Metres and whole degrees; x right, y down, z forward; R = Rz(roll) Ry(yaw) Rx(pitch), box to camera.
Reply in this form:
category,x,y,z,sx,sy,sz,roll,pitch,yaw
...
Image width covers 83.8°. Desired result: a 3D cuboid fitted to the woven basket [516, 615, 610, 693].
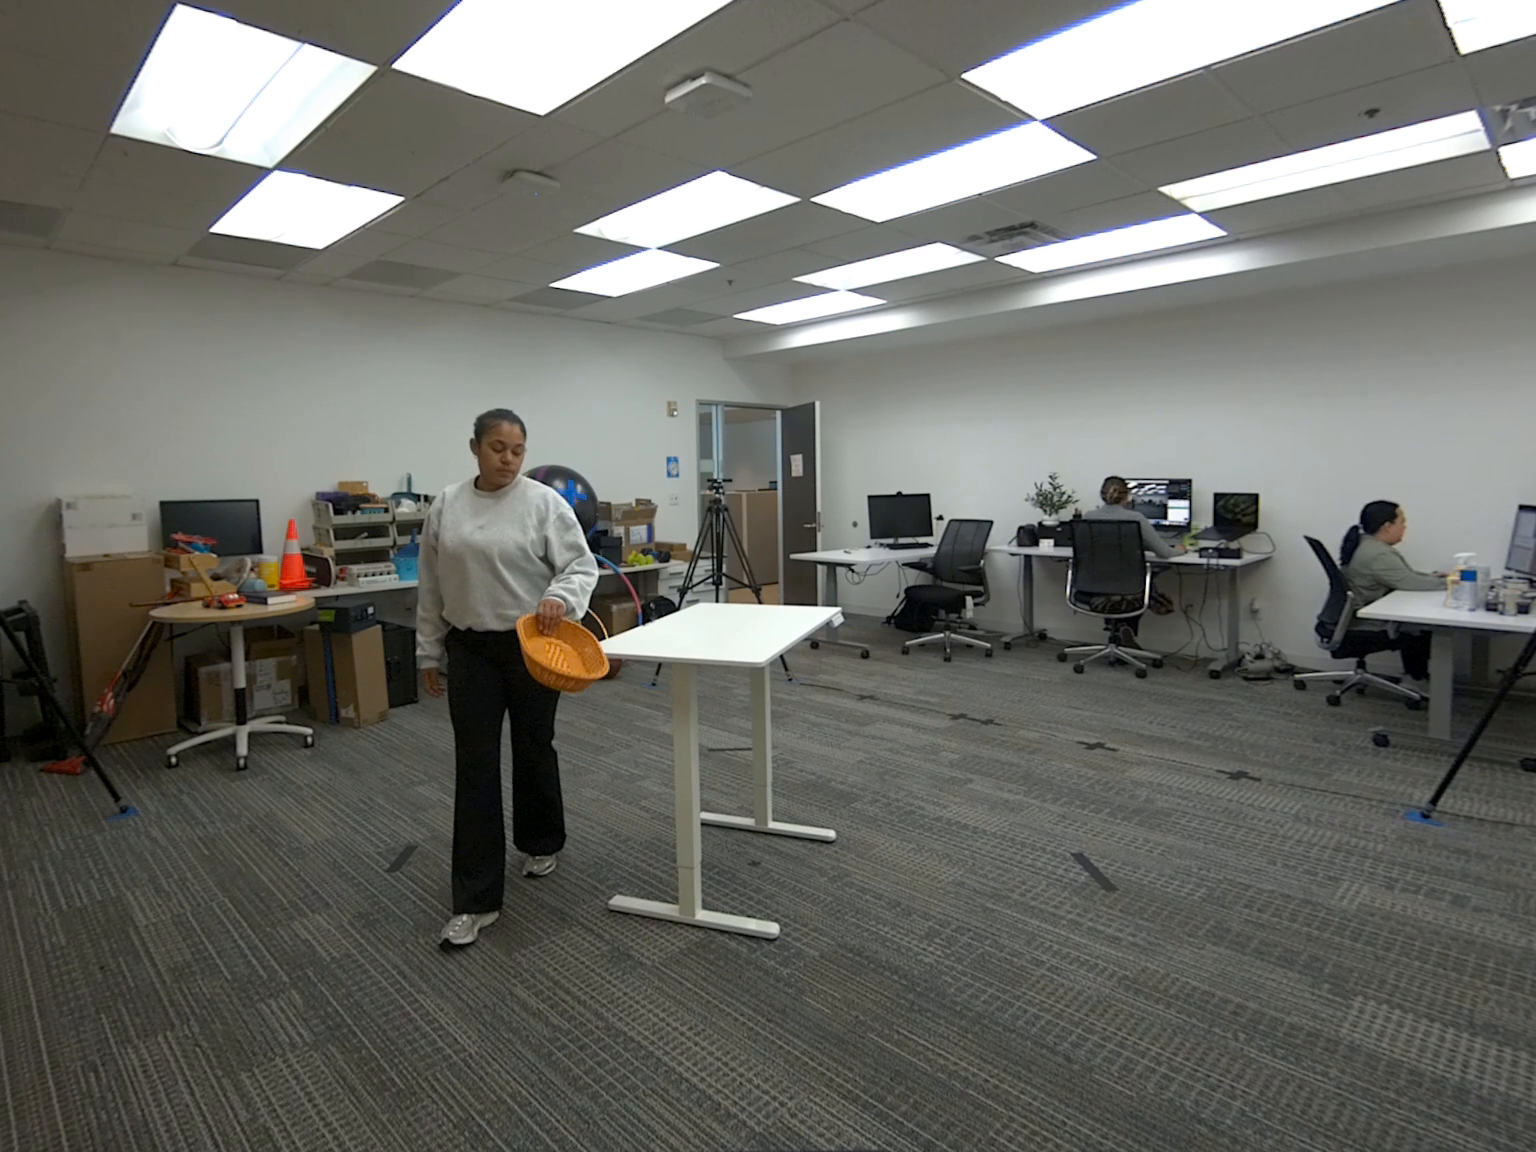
category,x,y,z,sx,sy,sz,roll,pitch,yaw
woven basket,-0.559,0.220,2.361,0.246,0.073,0.361,19,16,-22
